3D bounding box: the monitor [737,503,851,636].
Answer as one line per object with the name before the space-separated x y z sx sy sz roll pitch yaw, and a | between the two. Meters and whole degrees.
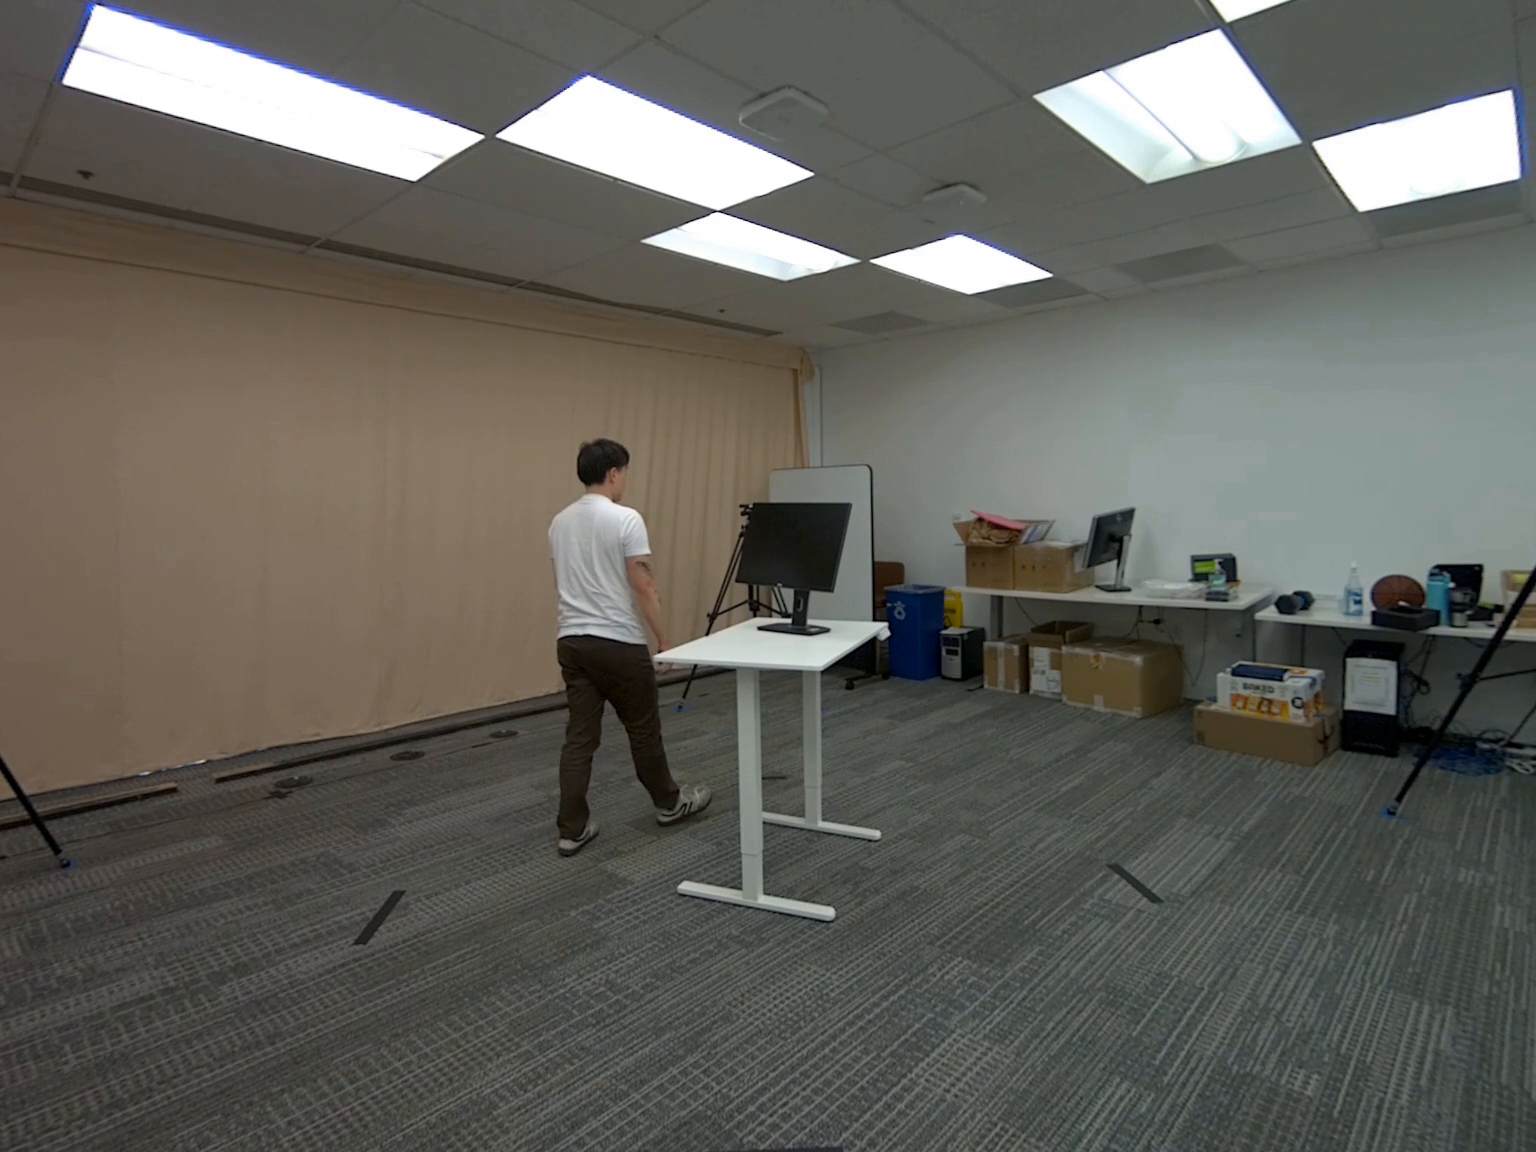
monitor | 0.120 -0.033 3.392 0.557 0.522 0.181 3 2 44
